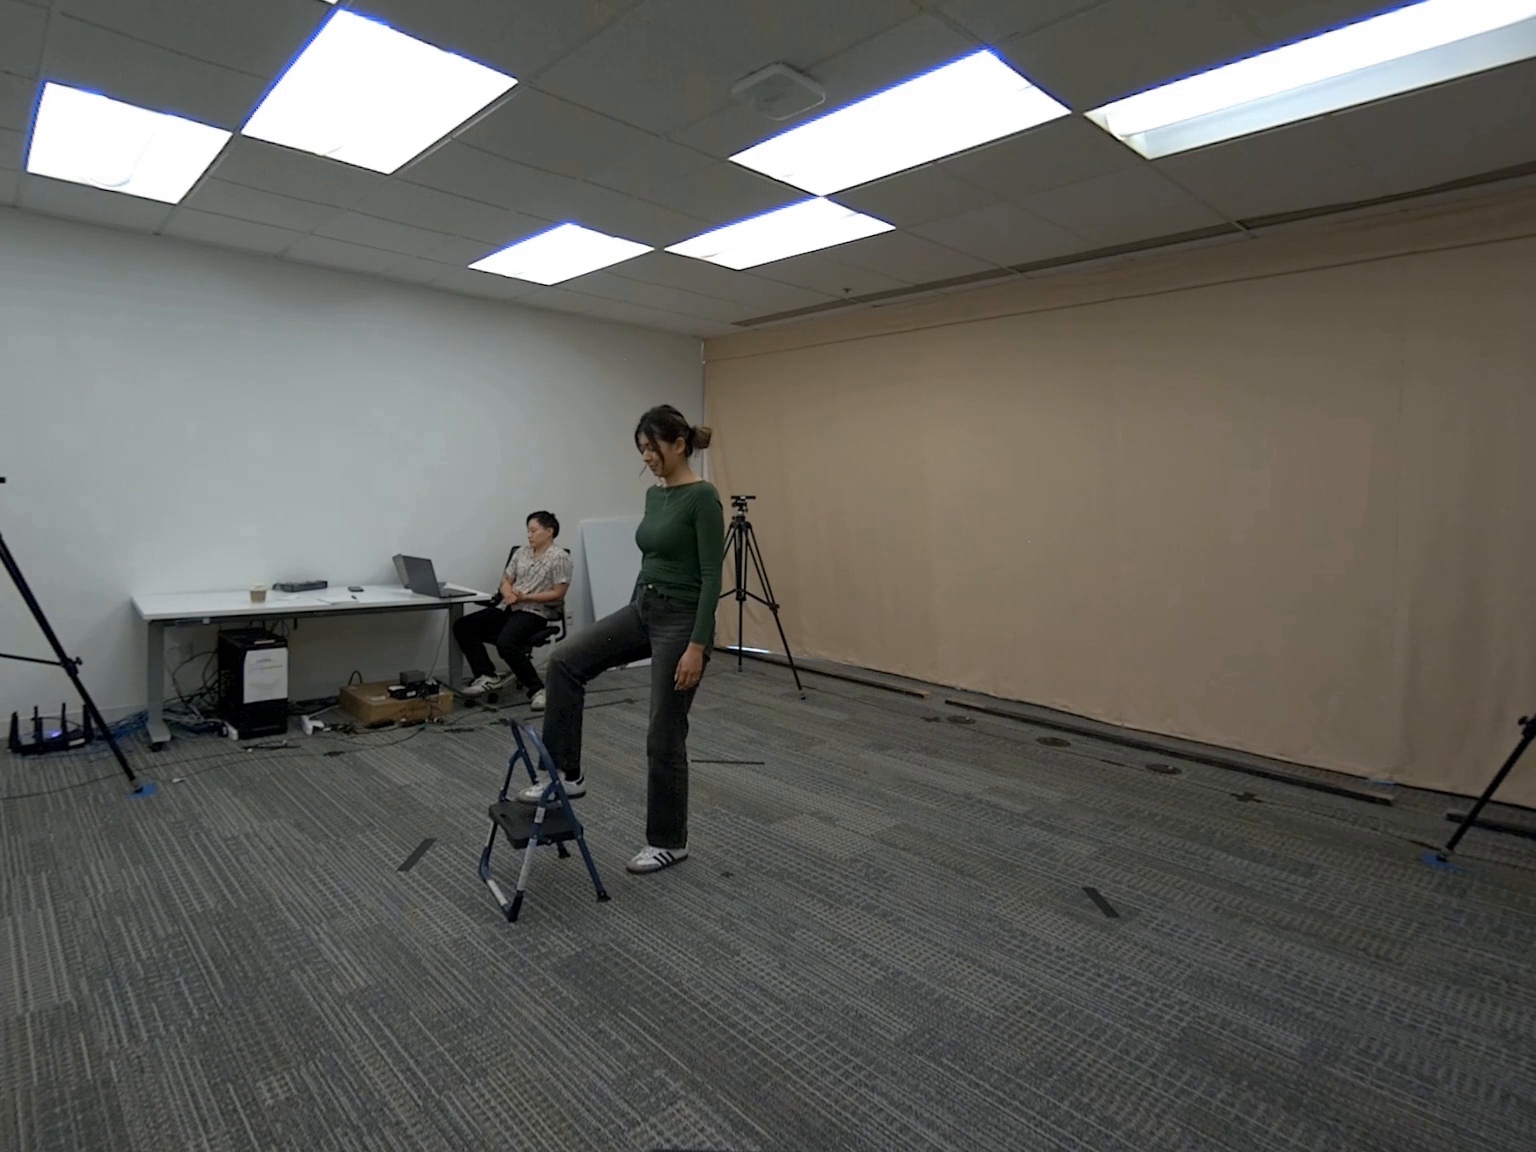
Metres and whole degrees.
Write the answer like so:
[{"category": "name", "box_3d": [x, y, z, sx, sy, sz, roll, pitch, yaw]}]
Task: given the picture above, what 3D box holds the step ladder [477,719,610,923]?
[{"category": "step ladder", "box_3d": [-0.801, 0.799, 2.959, 0.342, 0.604, 0.441, -2, 4, -33]}]
